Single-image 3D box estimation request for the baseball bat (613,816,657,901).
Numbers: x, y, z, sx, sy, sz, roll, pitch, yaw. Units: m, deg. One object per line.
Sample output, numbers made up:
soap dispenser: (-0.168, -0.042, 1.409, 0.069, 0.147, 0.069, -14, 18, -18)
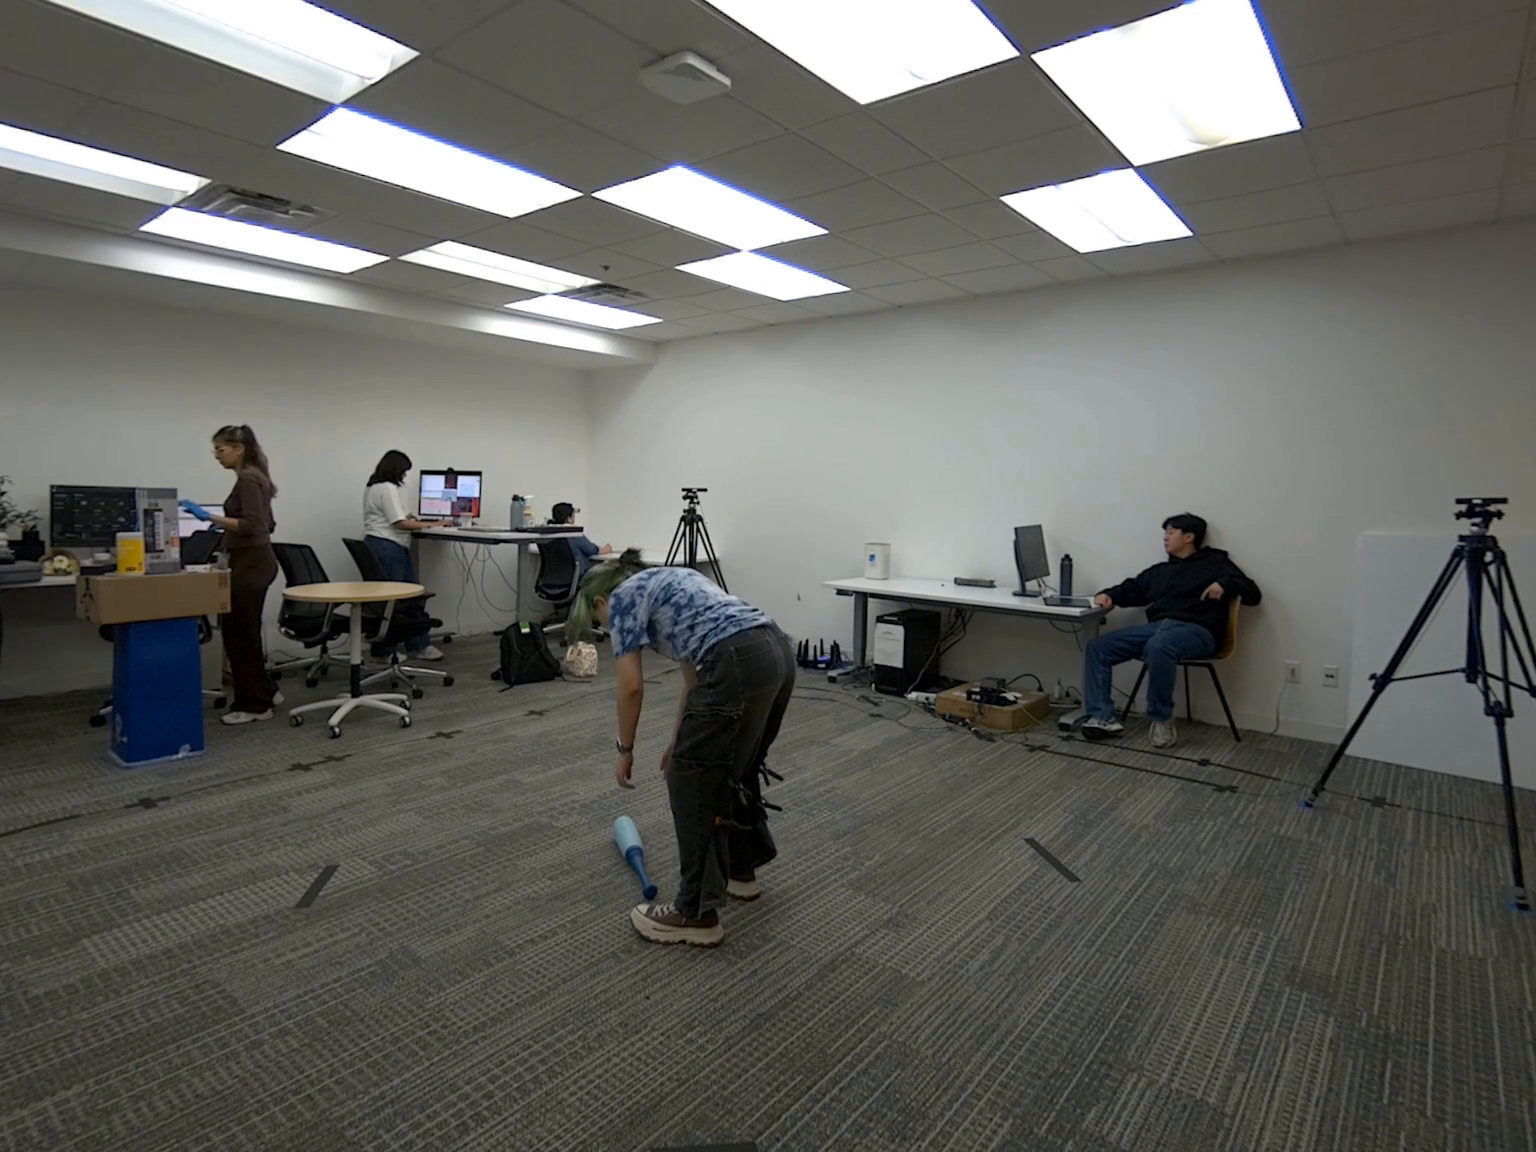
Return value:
baseball bat: (-0.499, 1.030, 3.118, 0.087, 0.088, 0.556, -1, 9, -18)
